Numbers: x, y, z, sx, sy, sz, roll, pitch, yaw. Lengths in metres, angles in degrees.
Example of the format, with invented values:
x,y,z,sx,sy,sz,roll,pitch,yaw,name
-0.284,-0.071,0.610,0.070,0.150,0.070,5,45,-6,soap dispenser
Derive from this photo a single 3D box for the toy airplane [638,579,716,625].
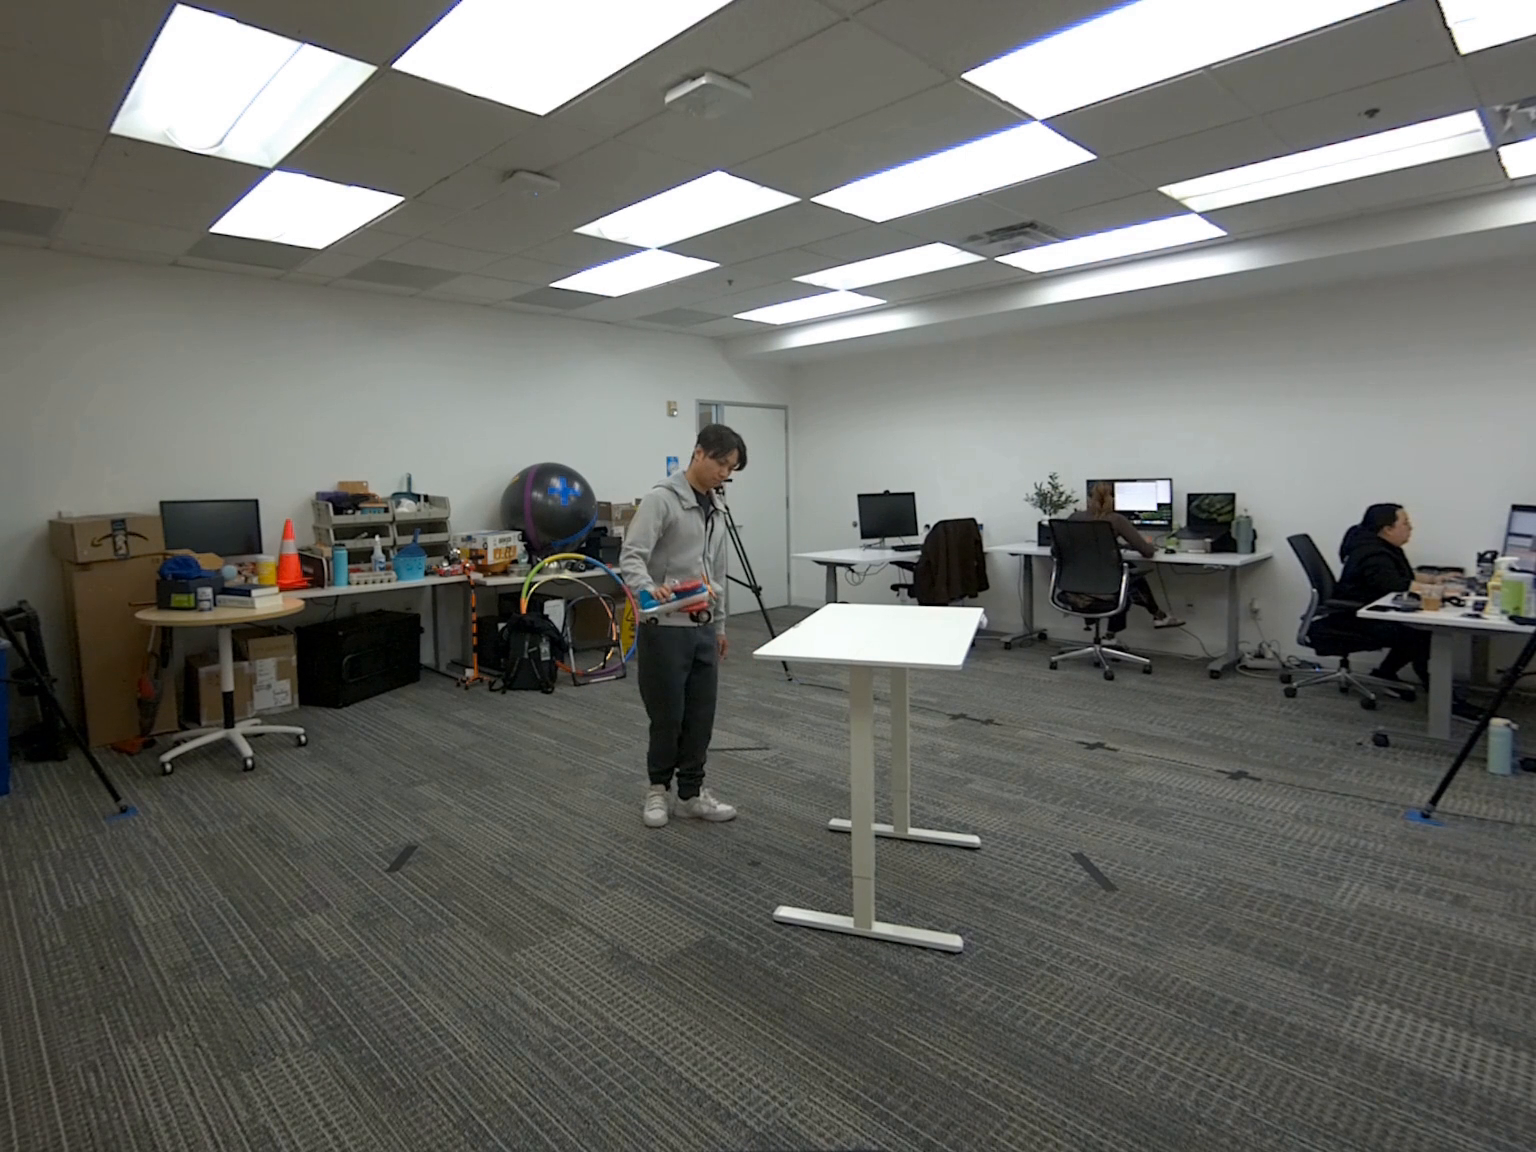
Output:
x,y,z,sx,sy,sz,roll,pitch,yaw,name
-0.328,0.102,2.988,0.252,0.157,0.258,-1,-1,-44,toy airplane
